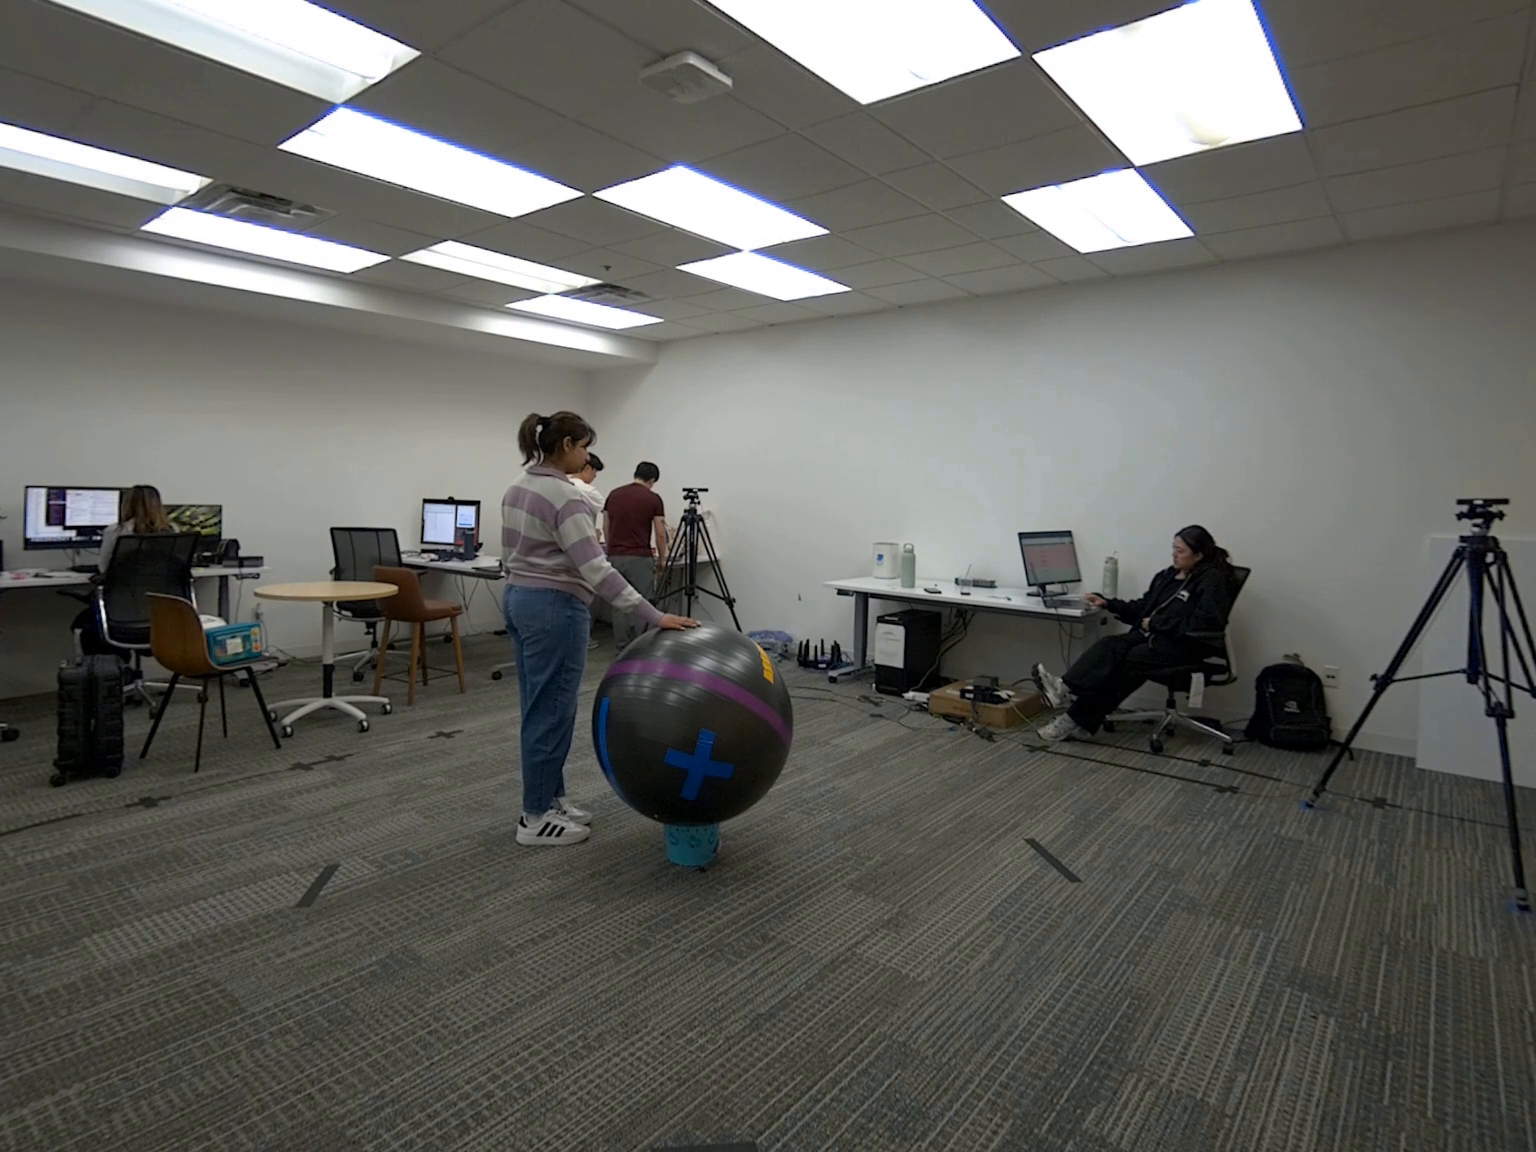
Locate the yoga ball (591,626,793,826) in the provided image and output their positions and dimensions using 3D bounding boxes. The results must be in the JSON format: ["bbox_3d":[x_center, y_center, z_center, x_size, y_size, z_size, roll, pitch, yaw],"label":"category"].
[{"bbox_3d":[-0.292,0.548,3.204,0.757,0.756,0.762,1,4,-2],"label":"yoga ball"}]
